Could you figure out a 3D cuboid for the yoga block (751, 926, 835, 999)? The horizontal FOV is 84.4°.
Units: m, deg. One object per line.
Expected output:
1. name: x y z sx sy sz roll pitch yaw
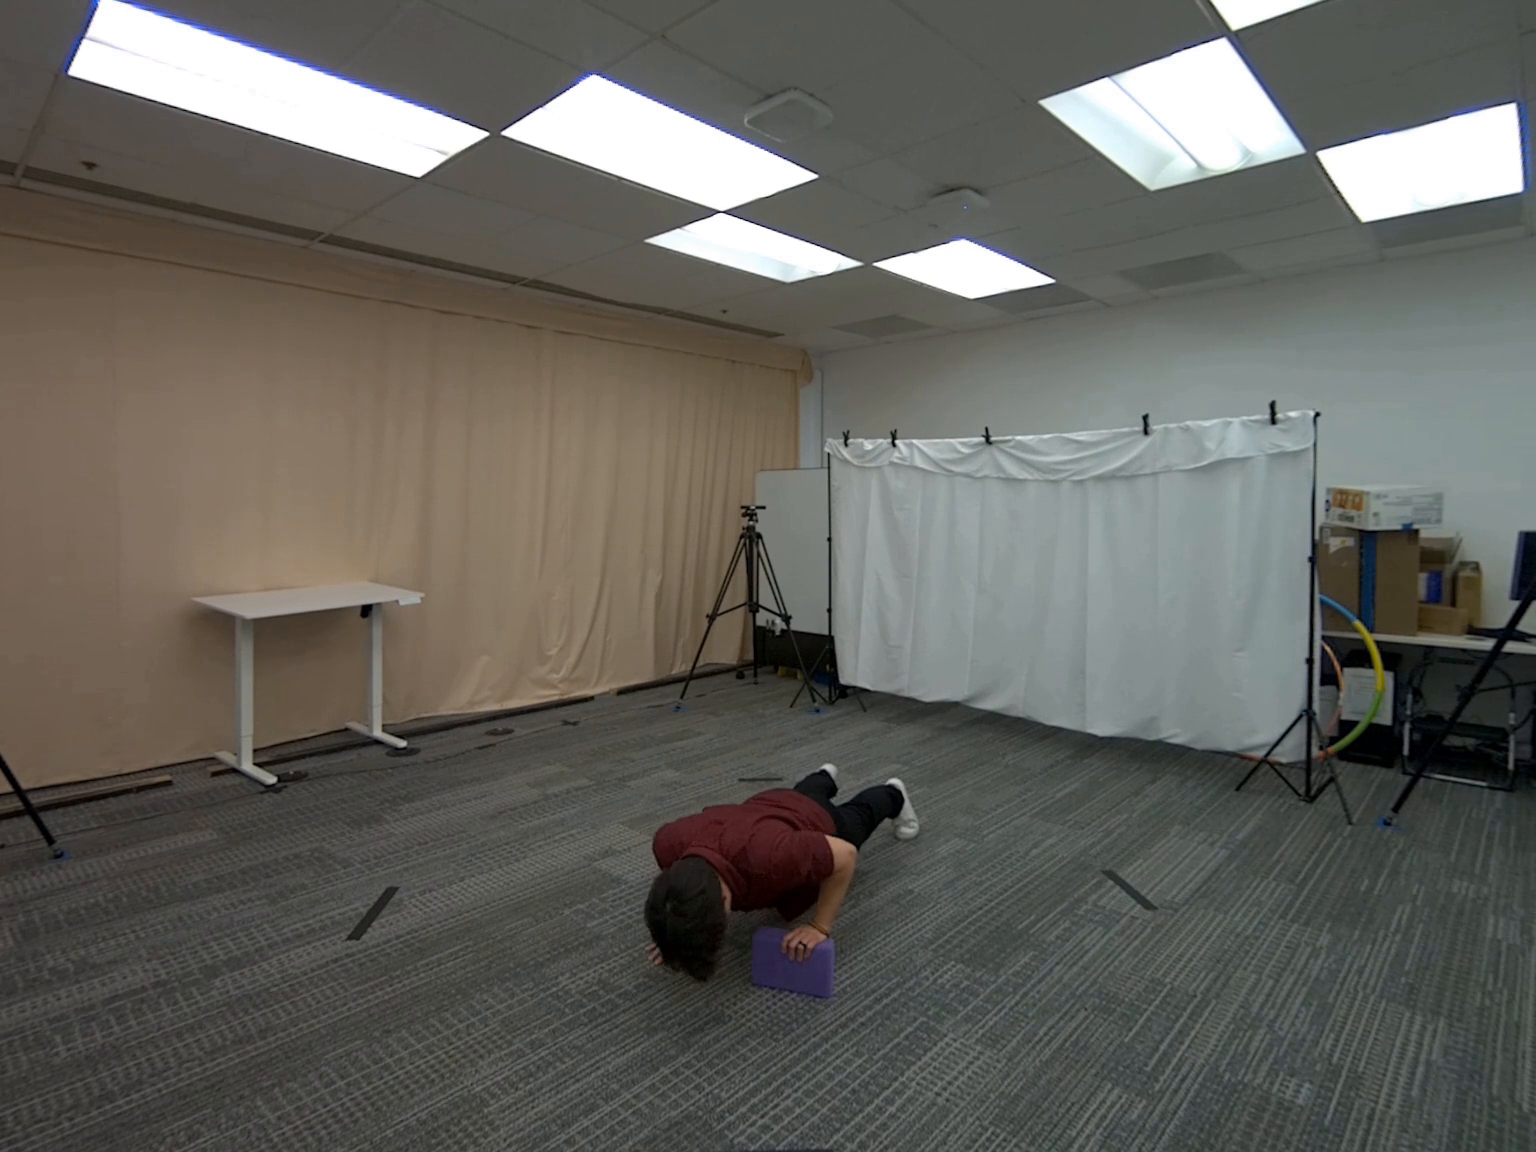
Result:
1. yoga block: 0.076 1.104 2.446 0.233 0.149 0.075 1 1 17
